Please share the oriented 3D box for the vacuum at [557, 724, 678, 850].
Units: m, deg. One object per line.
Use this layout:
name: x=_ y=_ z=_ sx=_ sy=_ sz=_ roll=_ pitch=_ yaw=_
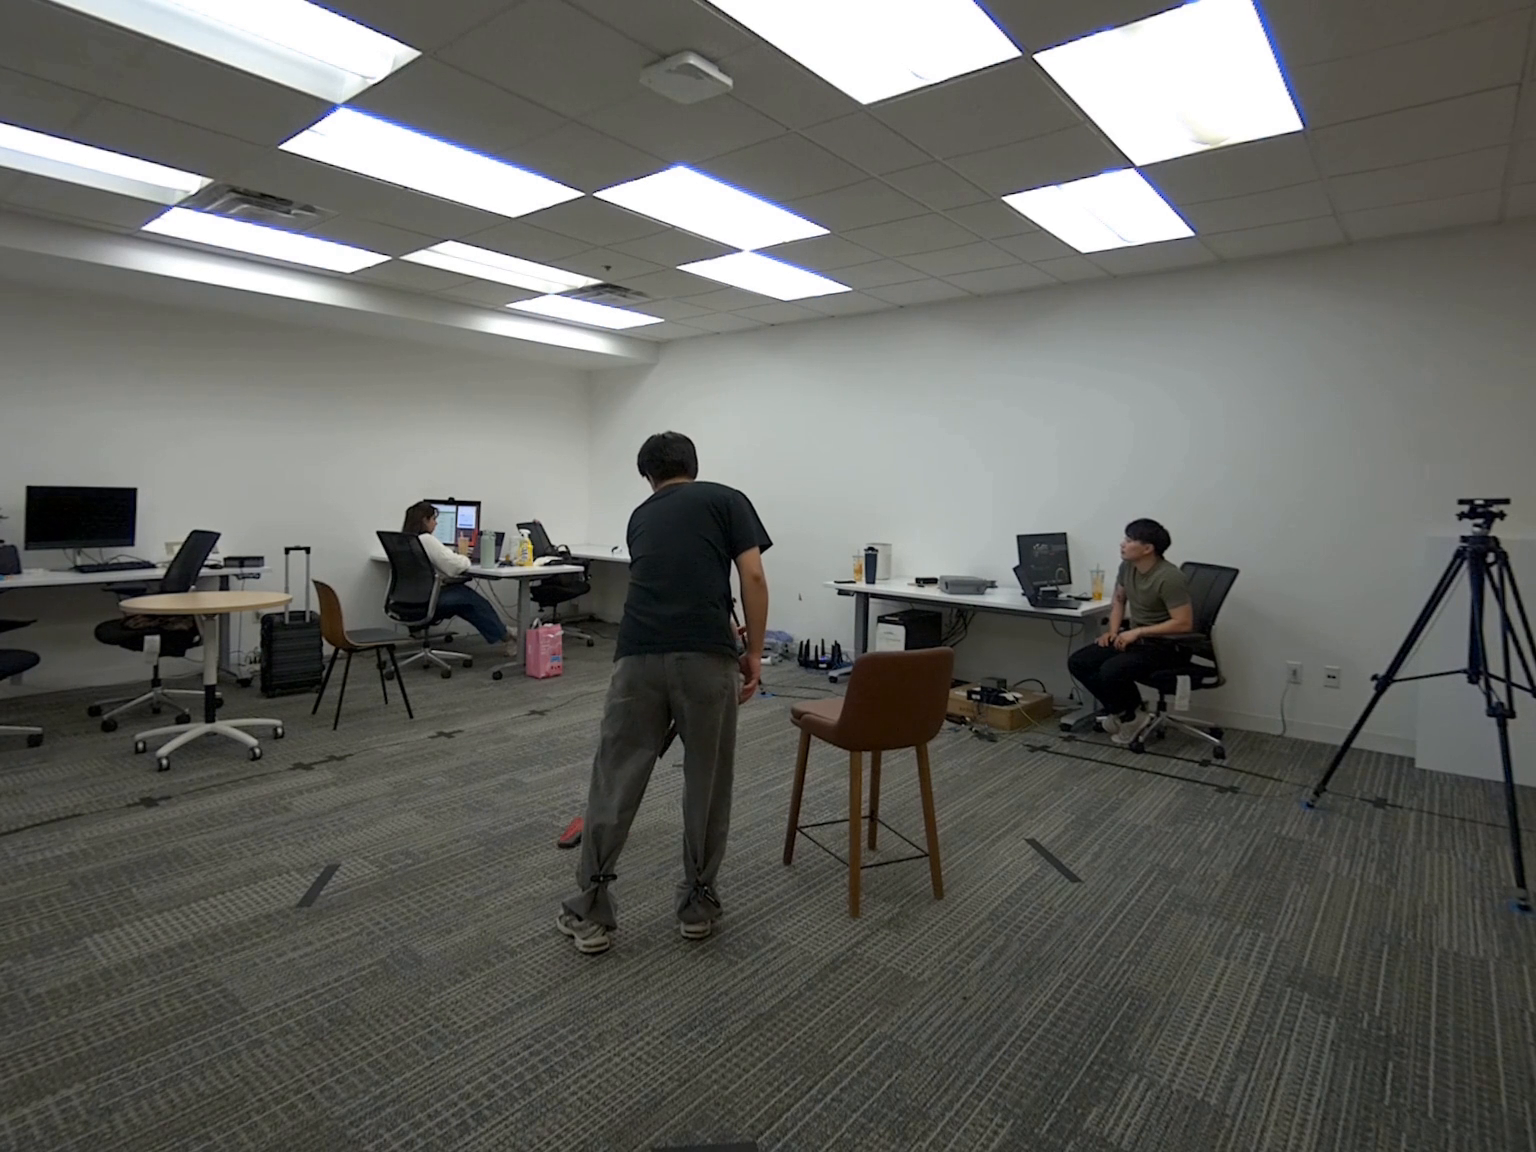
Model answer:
vacuum: x=-0.437 y=0.607 z=3.329 sx=0.145 sy=1.048 sz=0.250 roll=39 pitch=7 yaw=5
